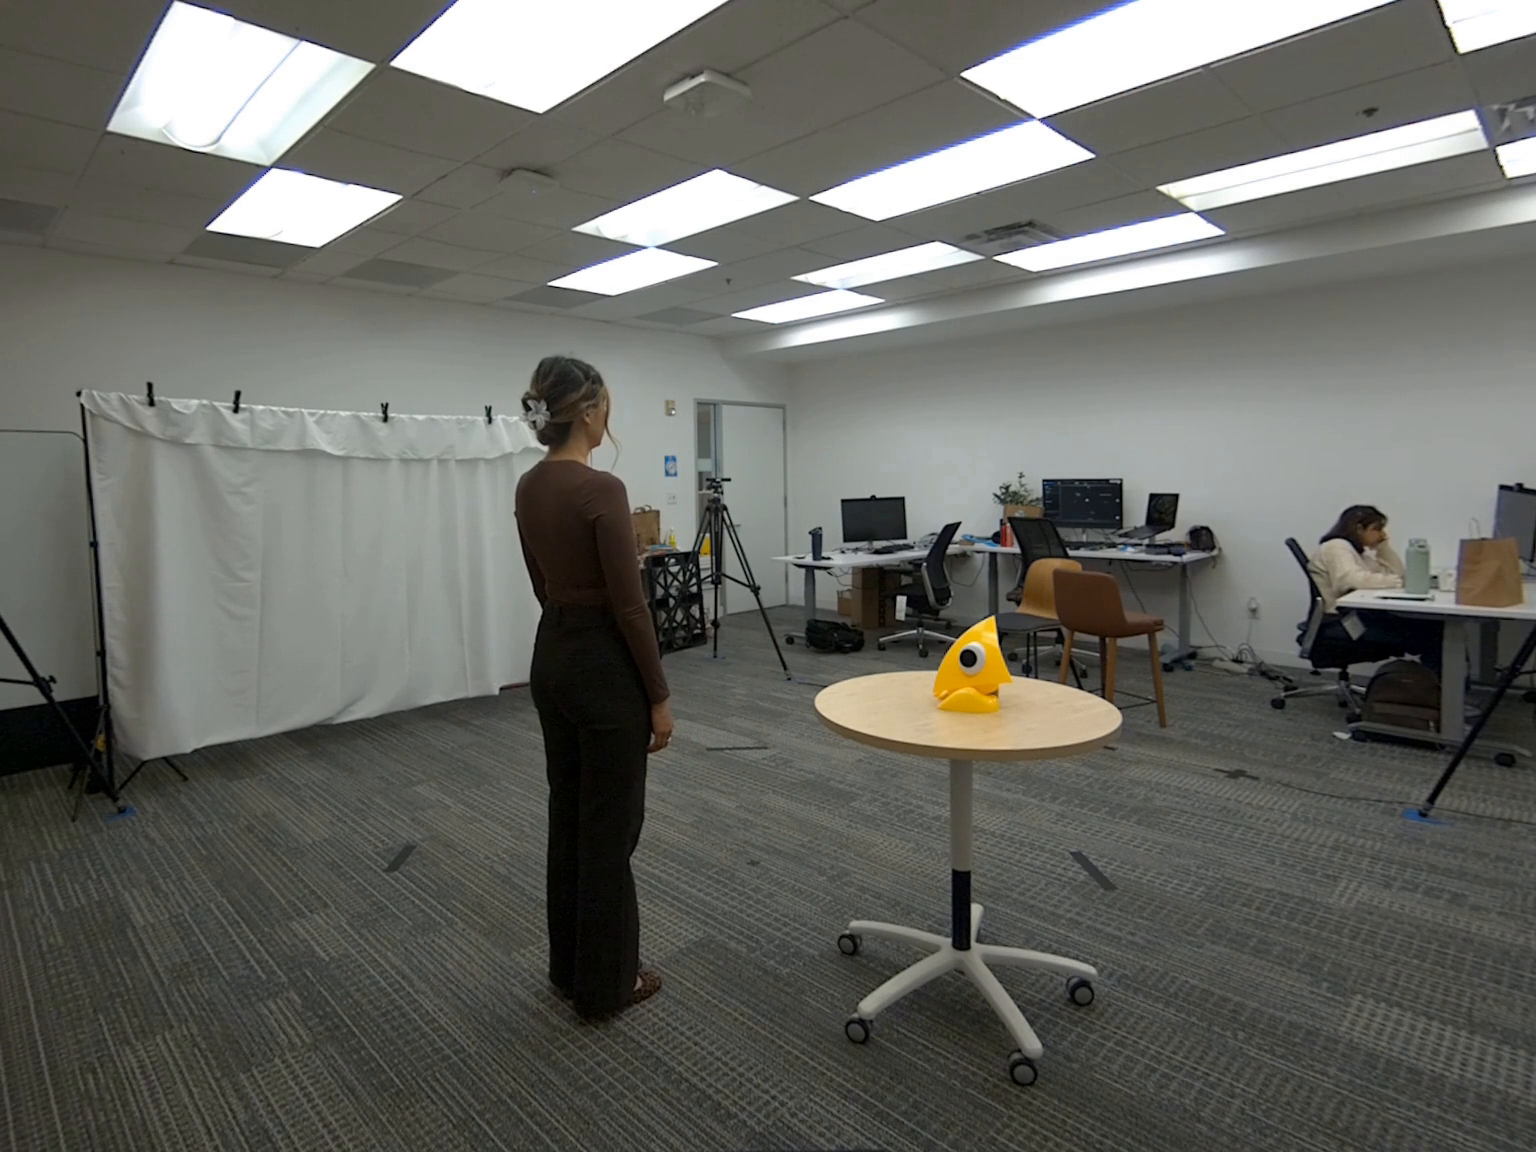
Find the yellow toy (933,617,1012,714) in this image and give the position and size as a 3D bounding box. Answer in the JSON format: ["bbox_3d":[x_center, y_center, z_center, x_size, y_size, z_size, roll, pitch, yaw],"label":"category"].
[{"bbox_3d":[0.538,0.222,2.237,0.194,0.230,0.204,-1,5,6],"label":"yellow toy"}]
